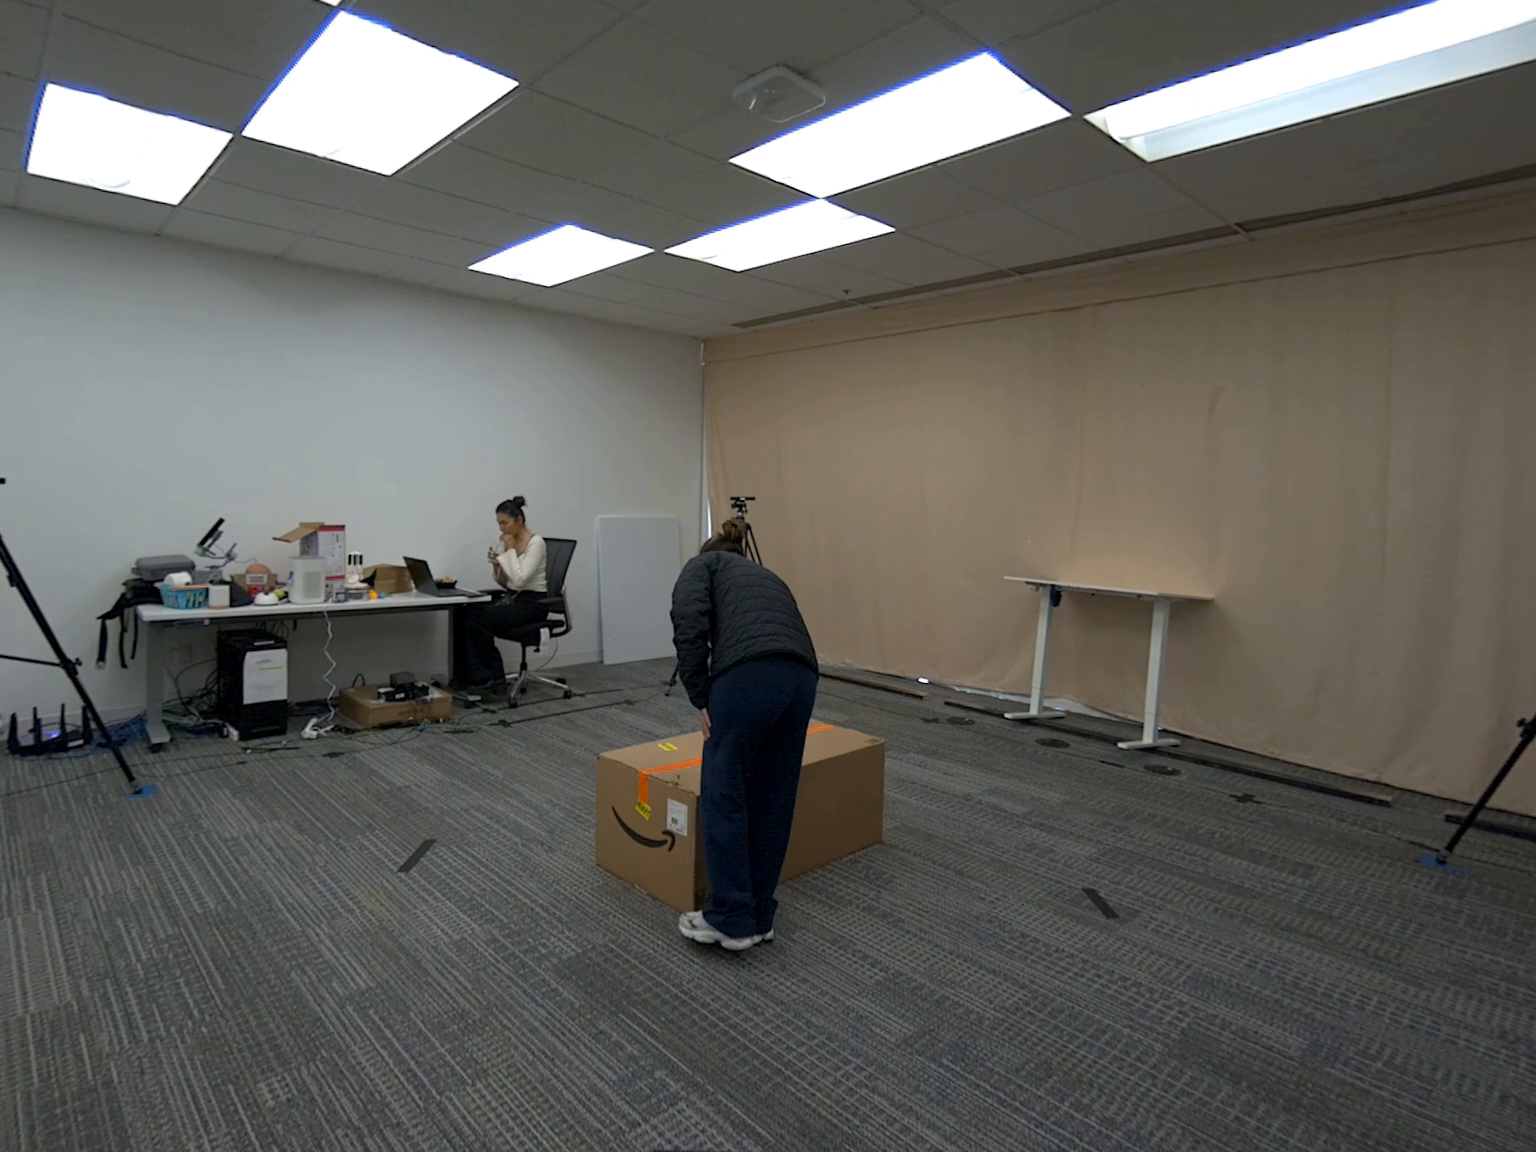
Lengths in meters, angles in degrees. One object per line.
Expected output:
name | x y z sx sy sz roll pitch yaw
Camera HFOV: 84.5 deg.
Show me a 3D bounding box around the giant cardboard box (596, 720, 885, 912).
giant cardboard box | -0.092 0.885 3.297 1.003 0.445 0.599 -3 7 -44
